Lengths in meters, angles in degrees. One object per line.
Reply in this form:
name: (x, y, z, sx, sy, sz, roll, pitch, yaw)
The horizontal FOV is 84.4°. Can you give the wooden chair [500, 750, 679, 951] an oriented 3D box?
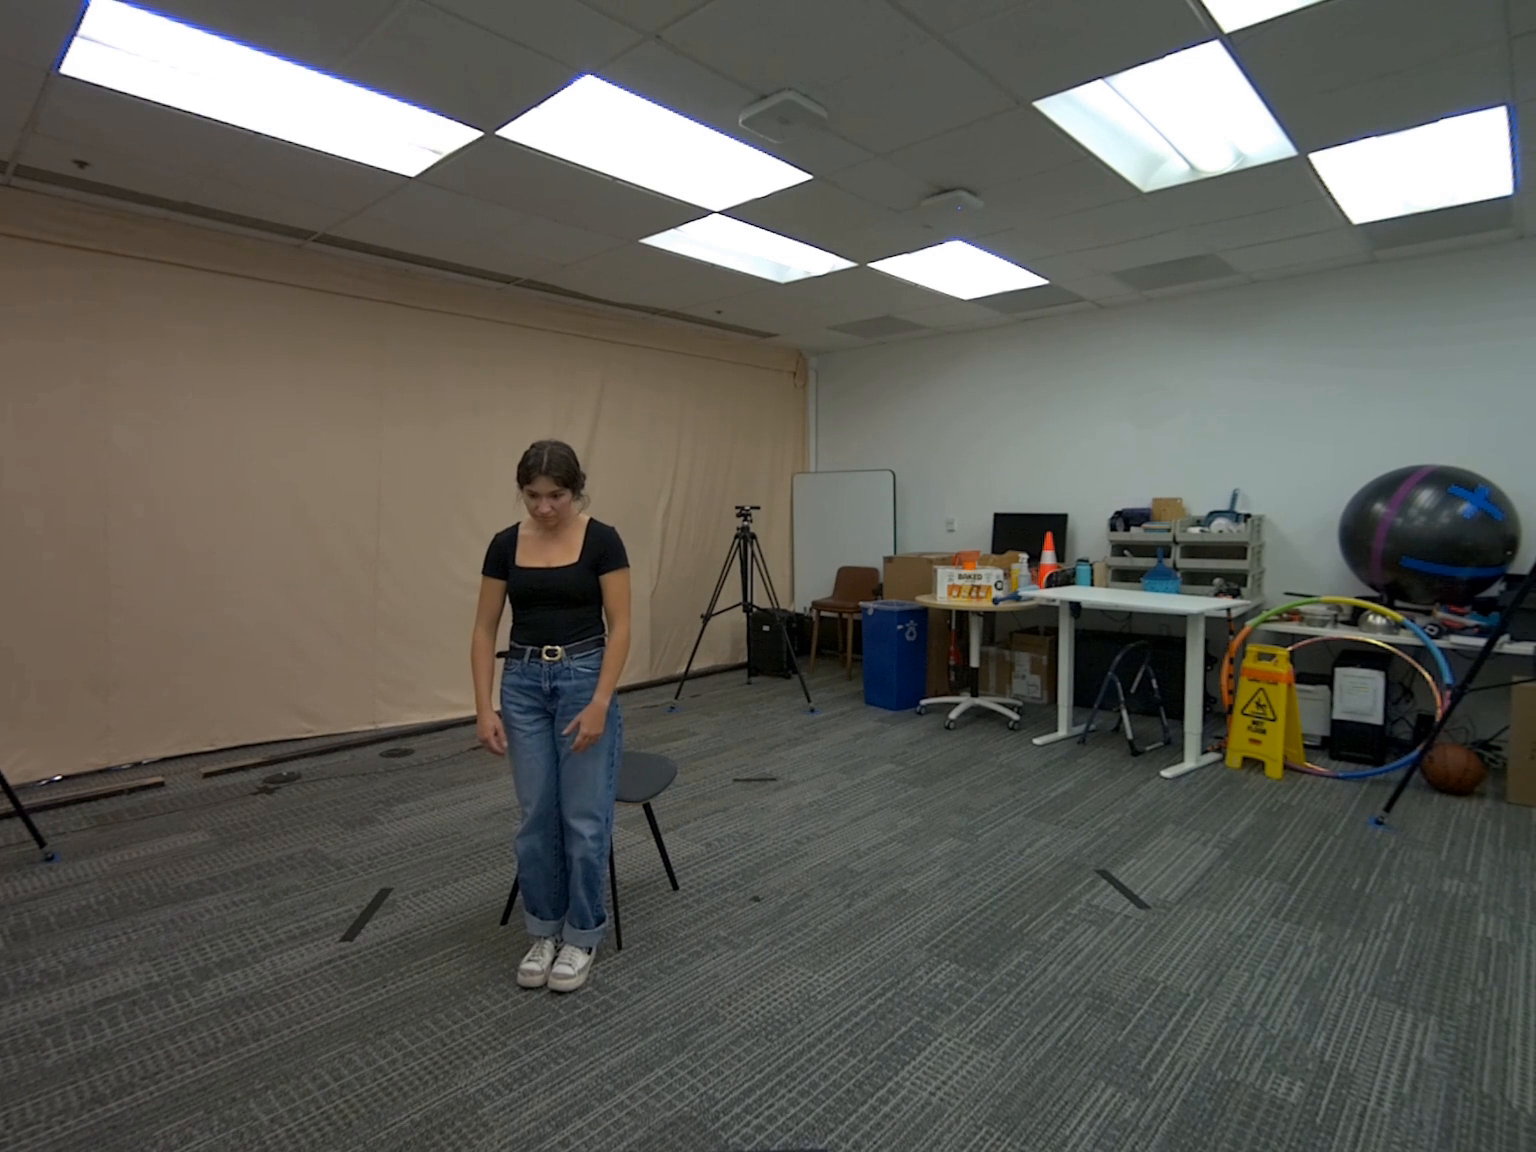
wooden chair: (-0.601, 0.727, 2.904, 0.534, 0.876, 0.469, -4, 2, 20)
